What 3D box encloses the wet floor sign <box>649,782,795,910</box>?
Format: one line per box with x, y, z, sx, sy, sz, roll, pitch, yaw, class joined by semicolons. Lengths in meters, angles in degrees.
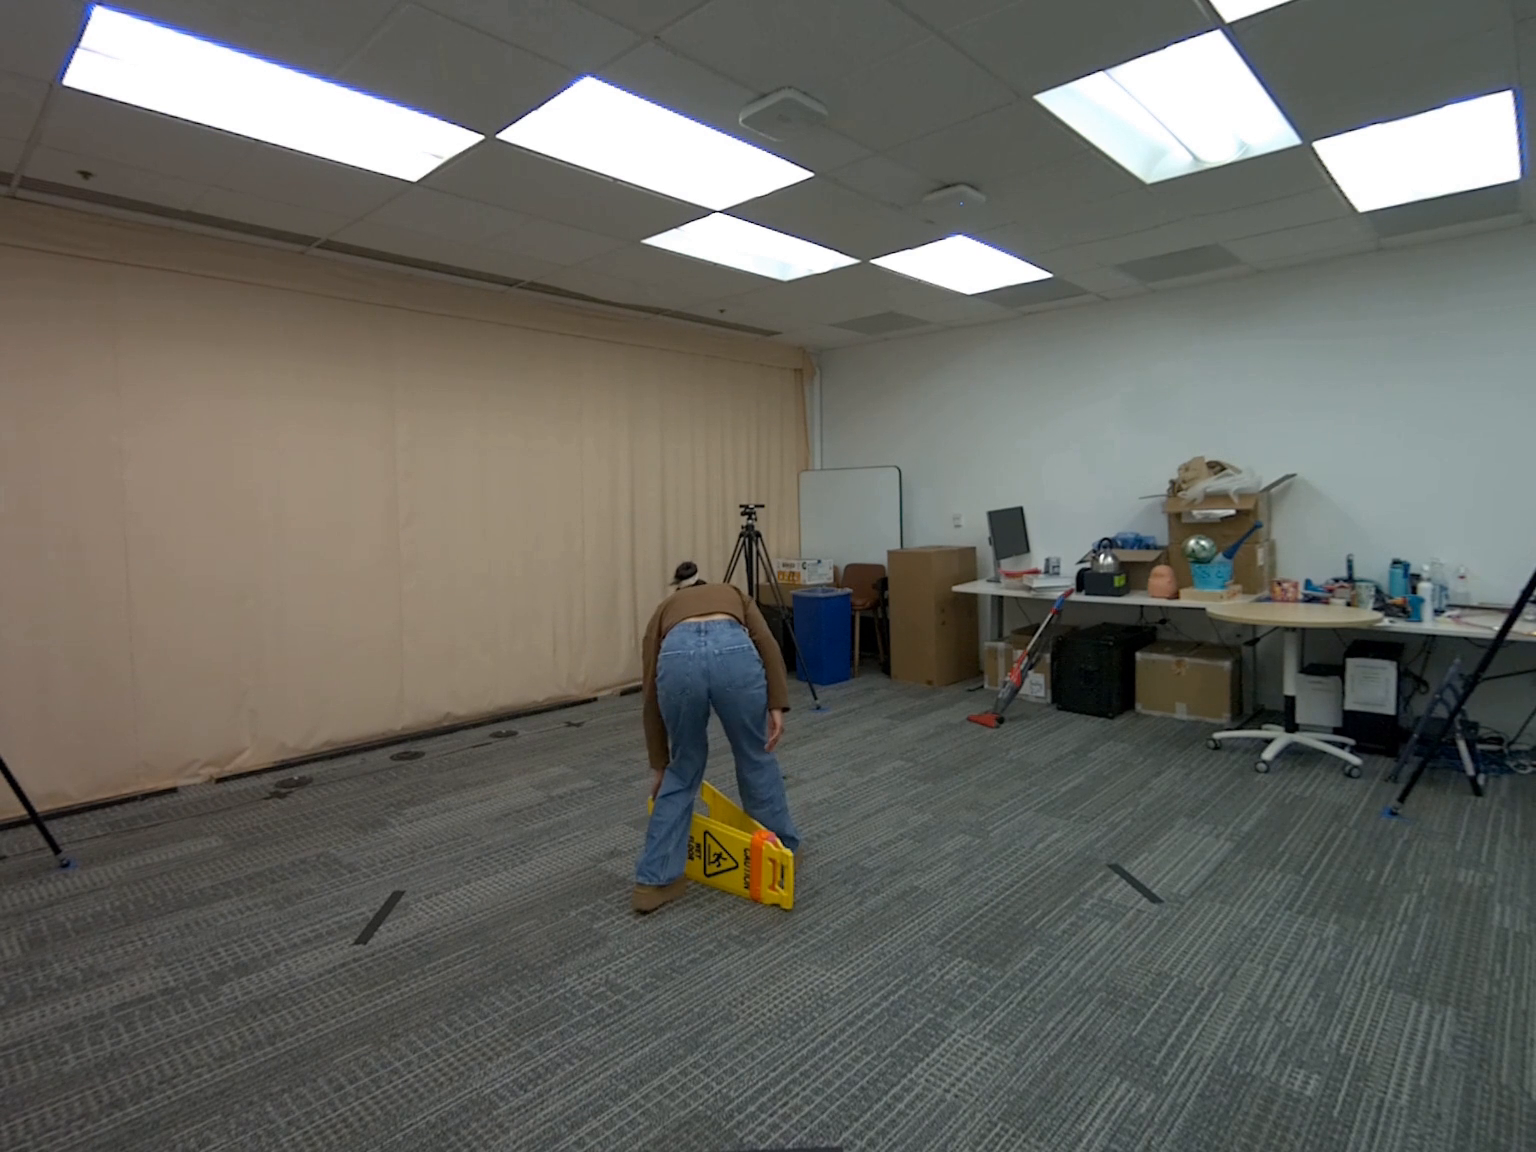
-0.138;1.007;3.106;0.281;0.281;0.668;-4;8;-42;wet floor sign
